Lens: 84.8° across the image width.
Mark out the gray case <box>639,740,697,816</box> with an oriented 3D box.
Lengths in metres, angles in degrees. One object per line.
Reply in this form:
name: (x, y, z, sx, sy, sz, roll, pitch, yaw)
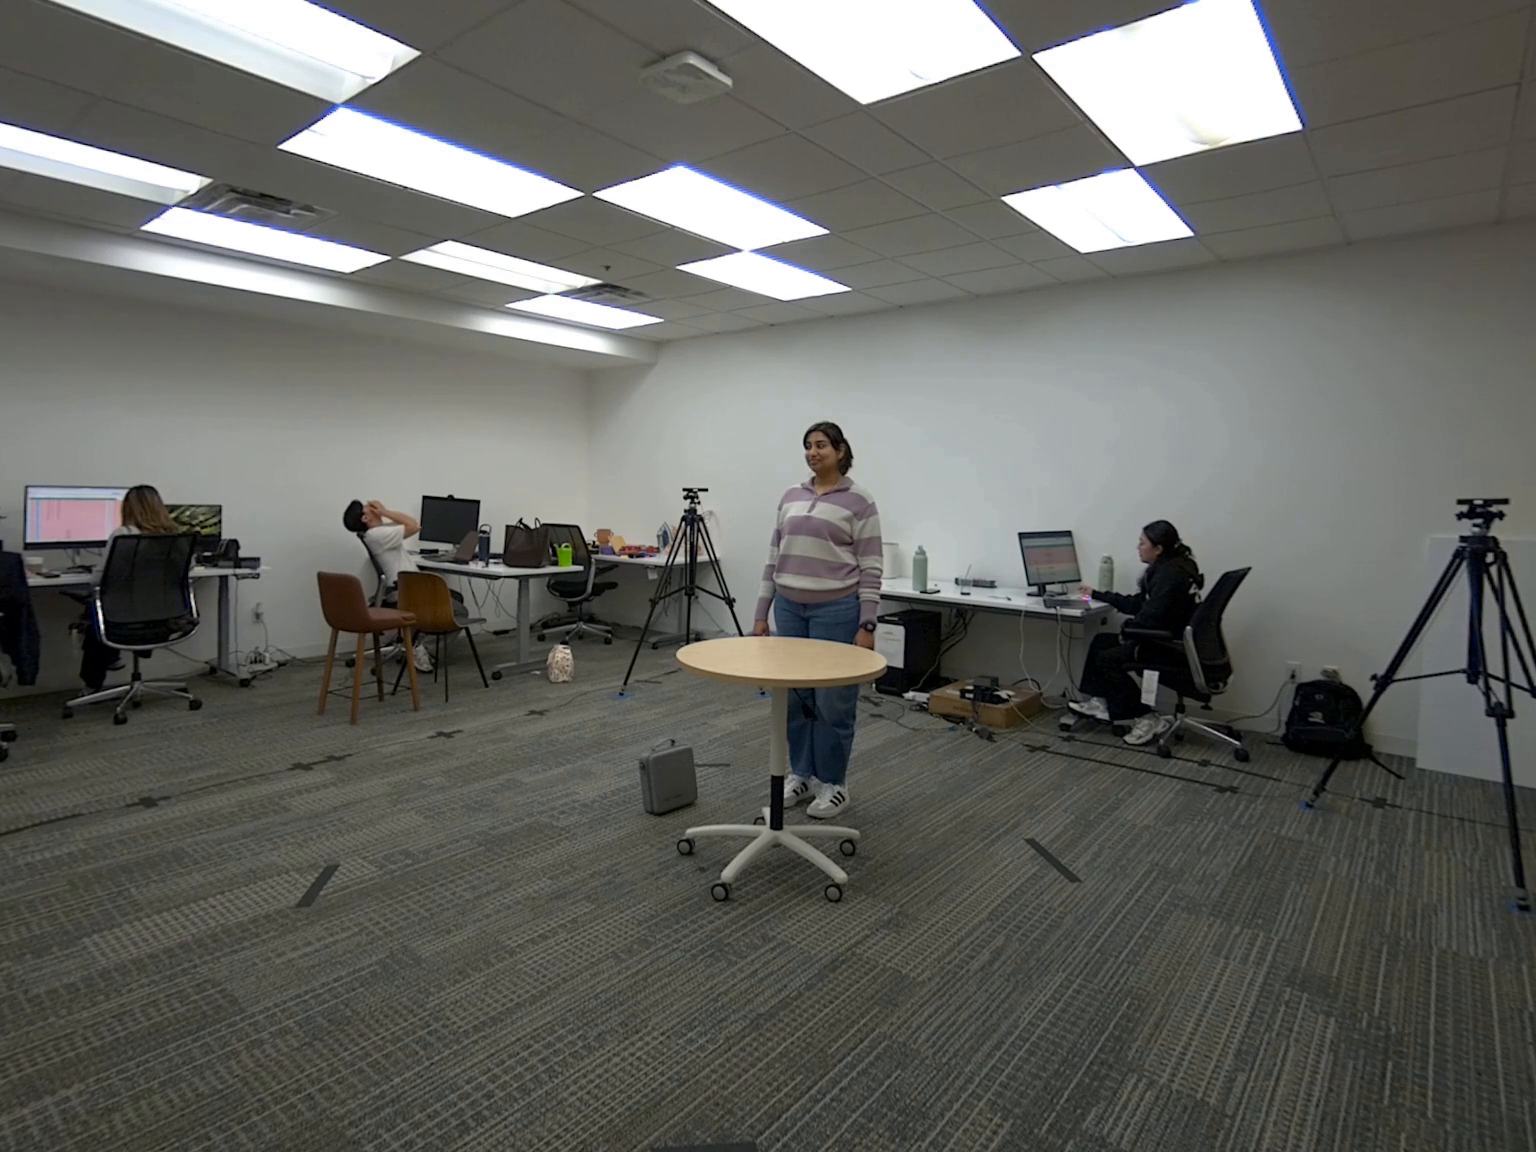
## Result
gray case: (-0.447, 0.875, 3.716, 0.107, 0.262, 0.249, -10, -6, 44)
